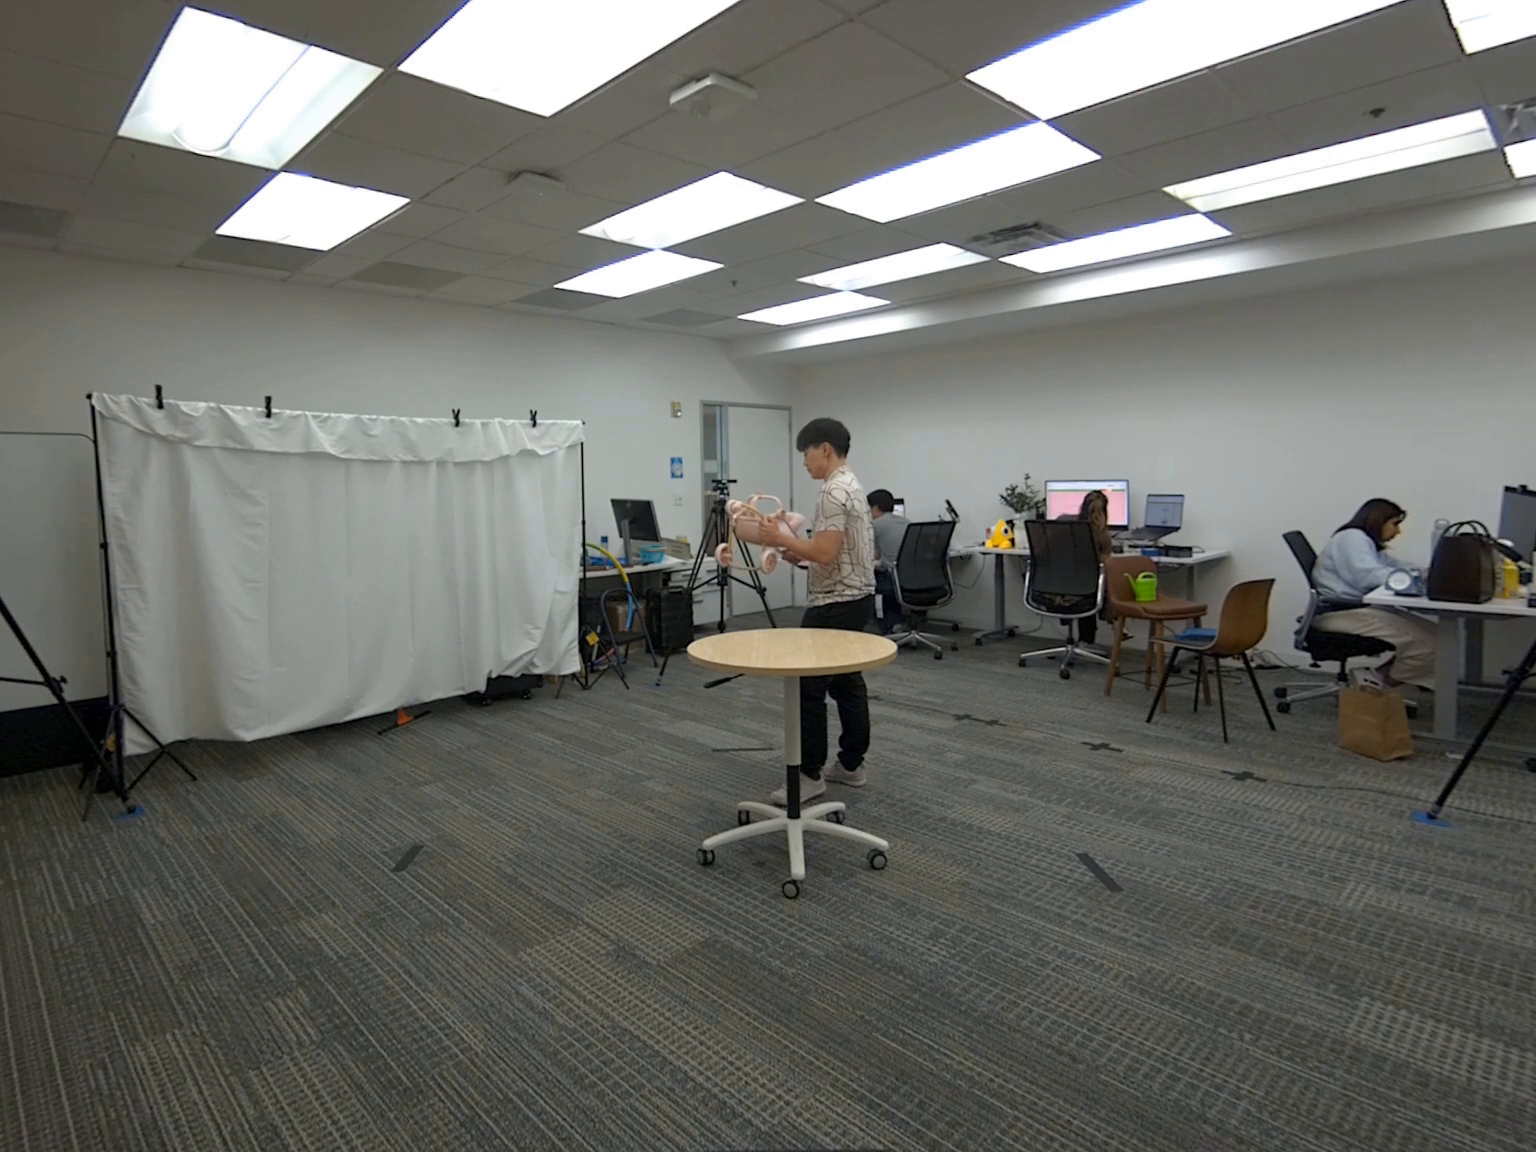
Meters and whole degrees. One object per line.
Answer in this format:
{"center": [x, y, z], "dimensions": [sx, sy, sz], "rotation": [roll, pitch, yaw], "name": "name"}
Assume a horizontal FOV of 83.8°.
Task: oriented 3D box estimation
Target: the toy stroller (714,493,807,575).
{"center": [-0.021, -0.211, 3.876], "dimensions": [0.290, 0.338, 0.524], "rotation": [3, 12, 38], "name": "toy stroller"}
